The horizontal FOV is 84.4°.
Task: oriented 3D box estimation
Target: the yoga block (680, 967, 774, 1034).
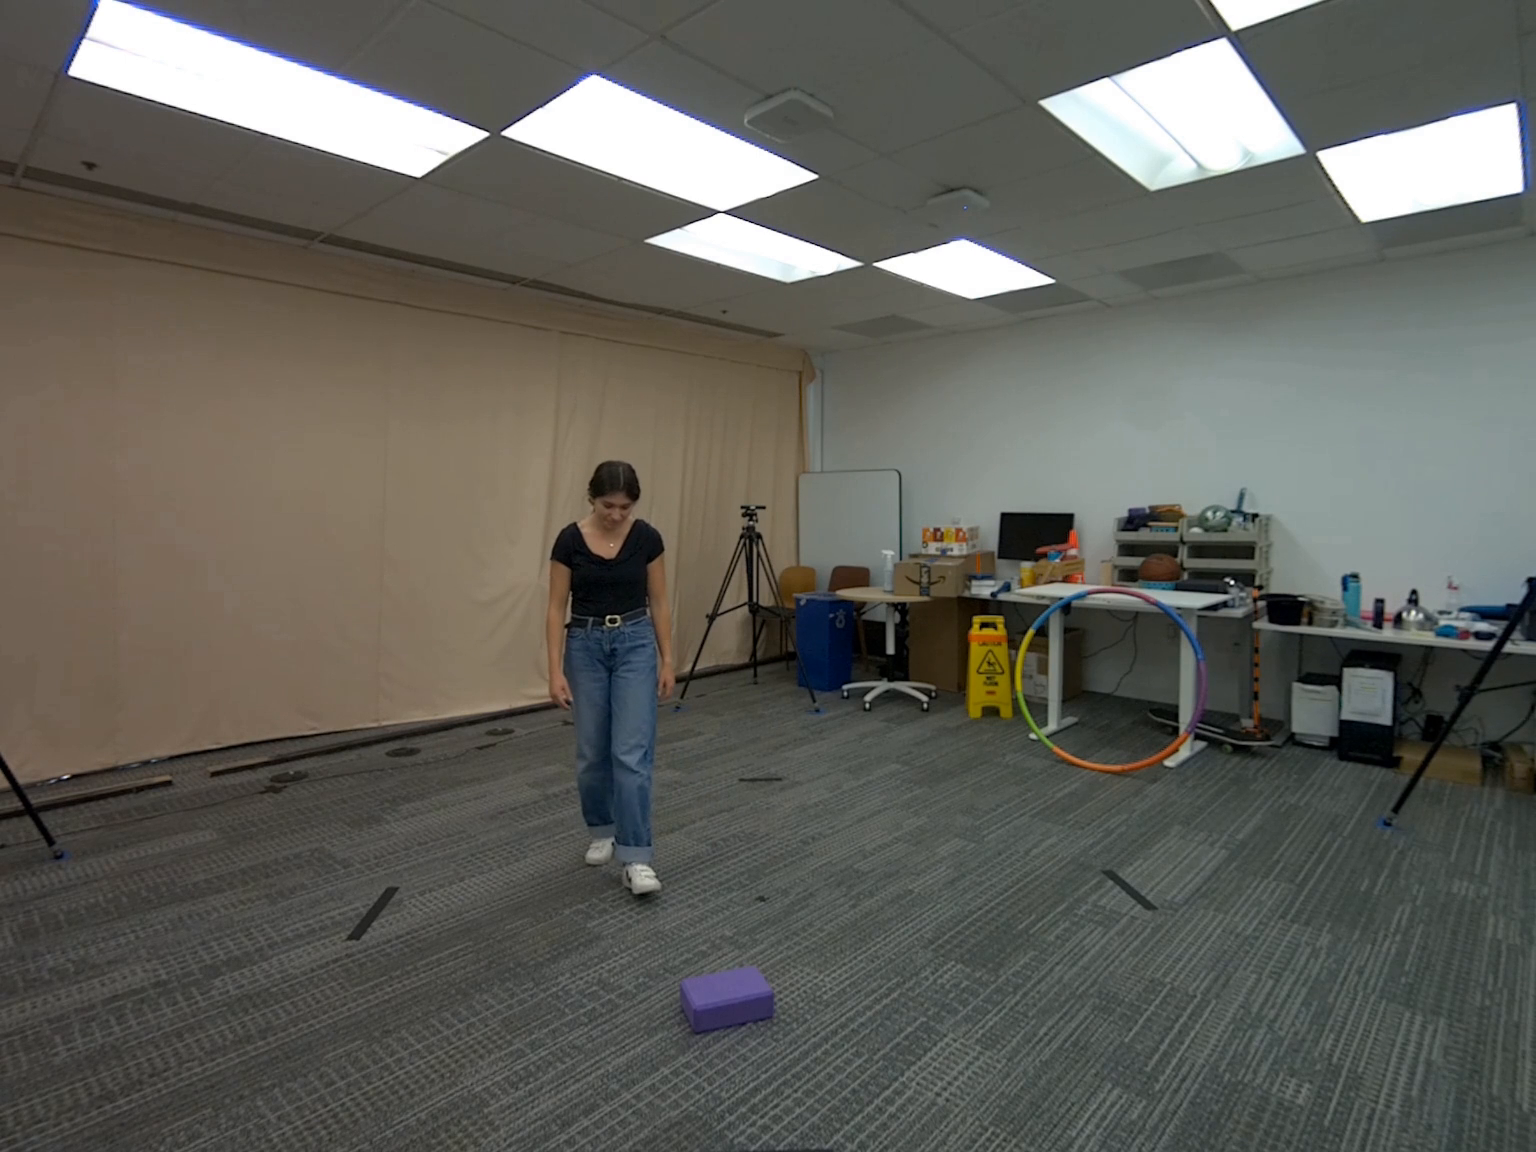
[{"bbox_3d":[-0.105,1.163,2.312,0.225,0.076,0.152,-1,5,-19],"label":"yoga block"}]
